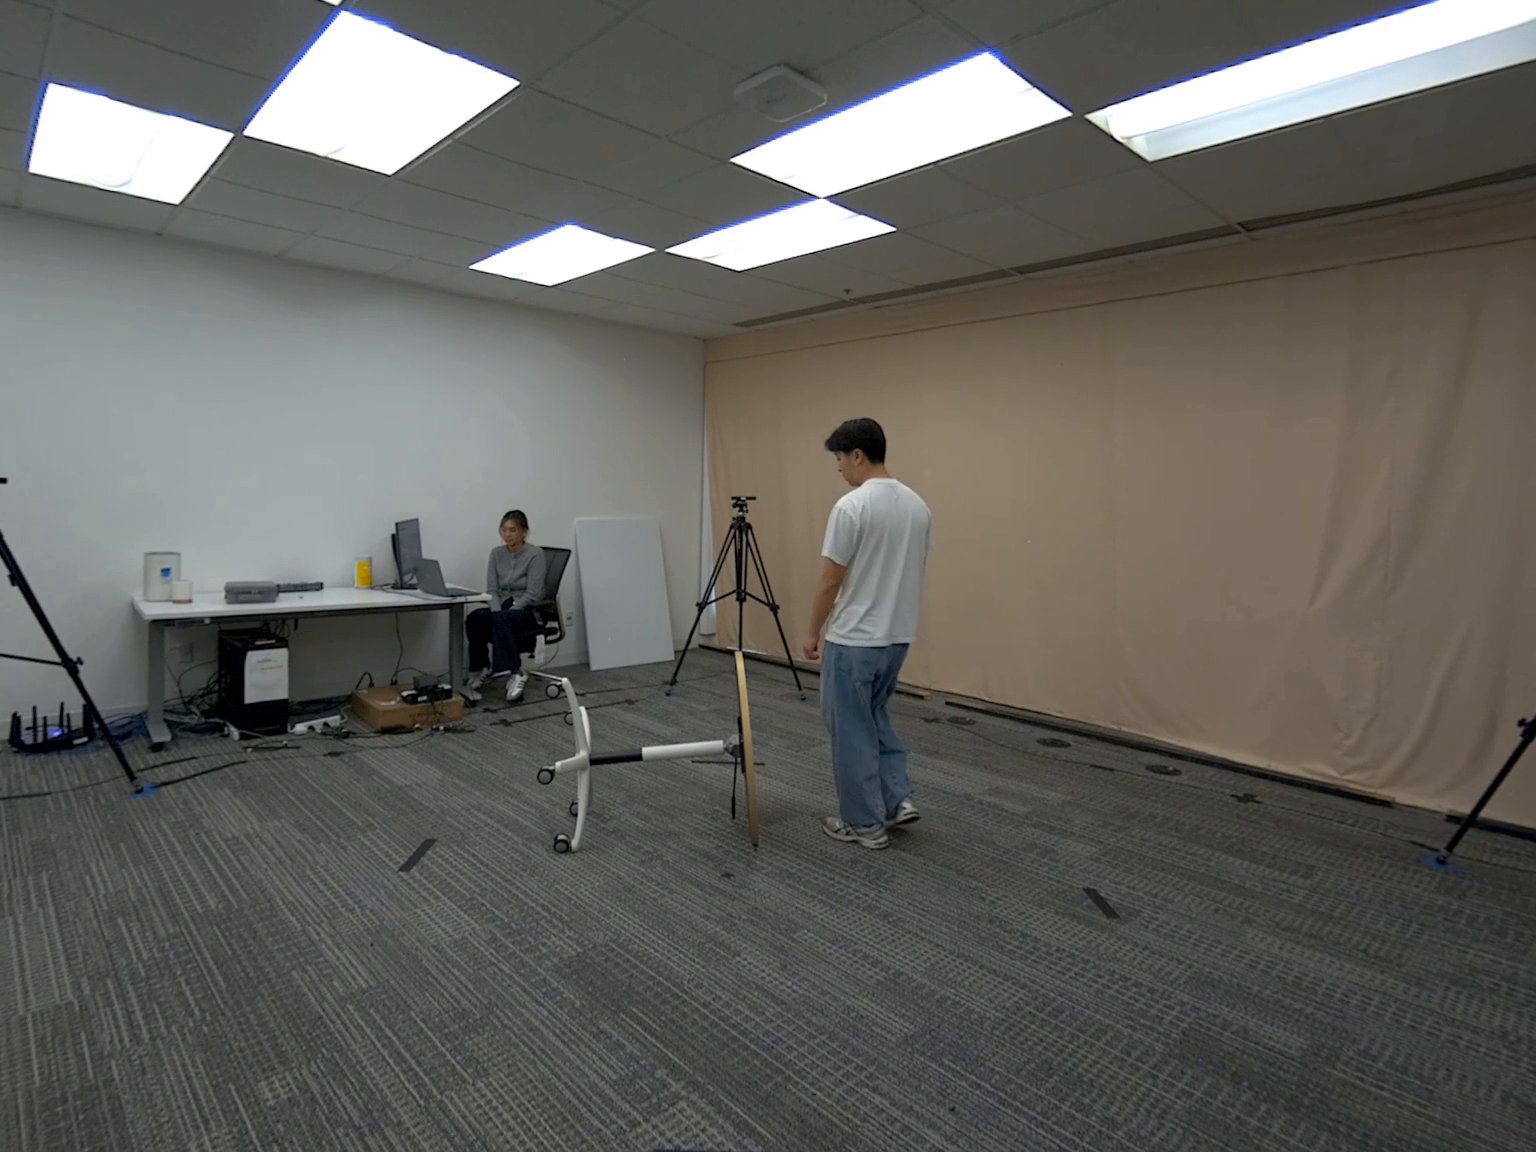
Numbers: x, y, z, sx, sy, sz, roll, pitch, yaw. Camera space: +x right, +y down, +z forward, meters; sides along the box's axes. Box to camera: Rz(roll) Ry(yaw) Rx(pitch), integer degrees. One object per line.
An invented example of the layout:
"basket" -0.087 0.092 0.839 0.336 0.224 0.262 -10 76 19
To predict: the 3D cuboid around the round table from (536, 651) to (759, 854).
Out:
"round table" -0.475 0.720 3.437 0.785 0.782 0.789 -5 5 -3
